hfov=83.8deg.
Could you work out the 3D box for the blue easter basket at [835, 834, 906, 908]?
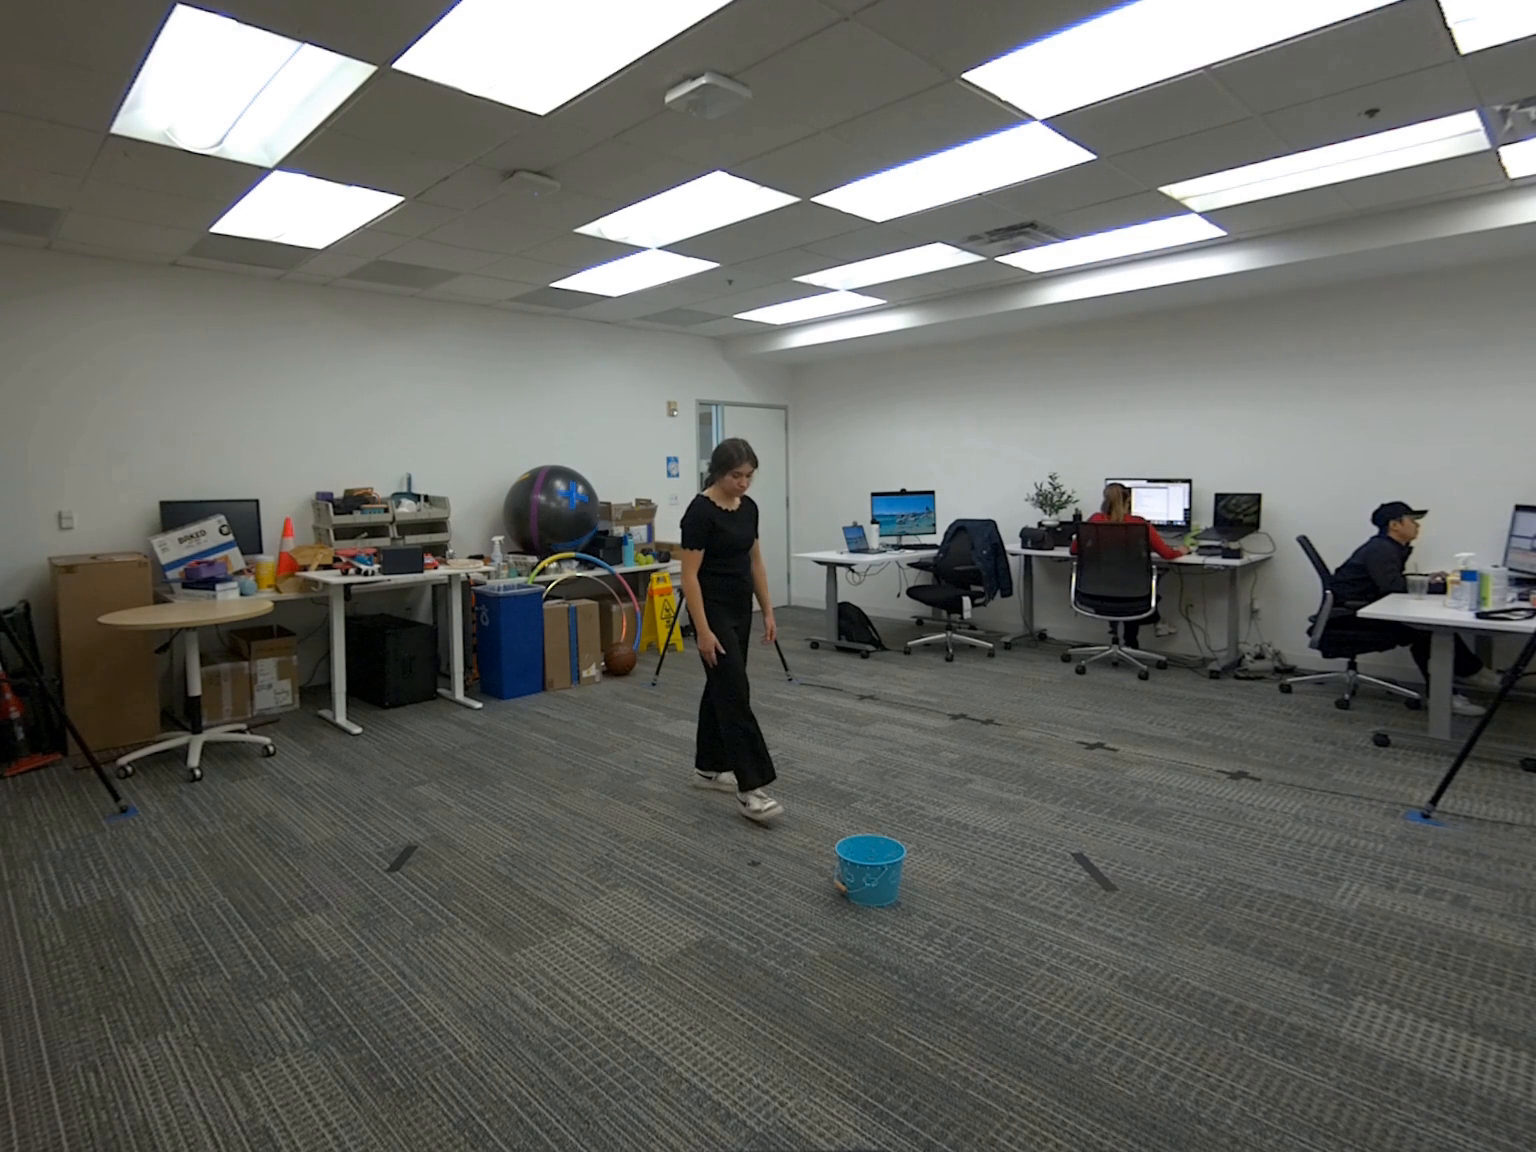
[{"bbox_3d":[0.341,0.986,2.858,0.243,0.155,0.245,-1,6,-2],"label":"blue easter basket"}]
